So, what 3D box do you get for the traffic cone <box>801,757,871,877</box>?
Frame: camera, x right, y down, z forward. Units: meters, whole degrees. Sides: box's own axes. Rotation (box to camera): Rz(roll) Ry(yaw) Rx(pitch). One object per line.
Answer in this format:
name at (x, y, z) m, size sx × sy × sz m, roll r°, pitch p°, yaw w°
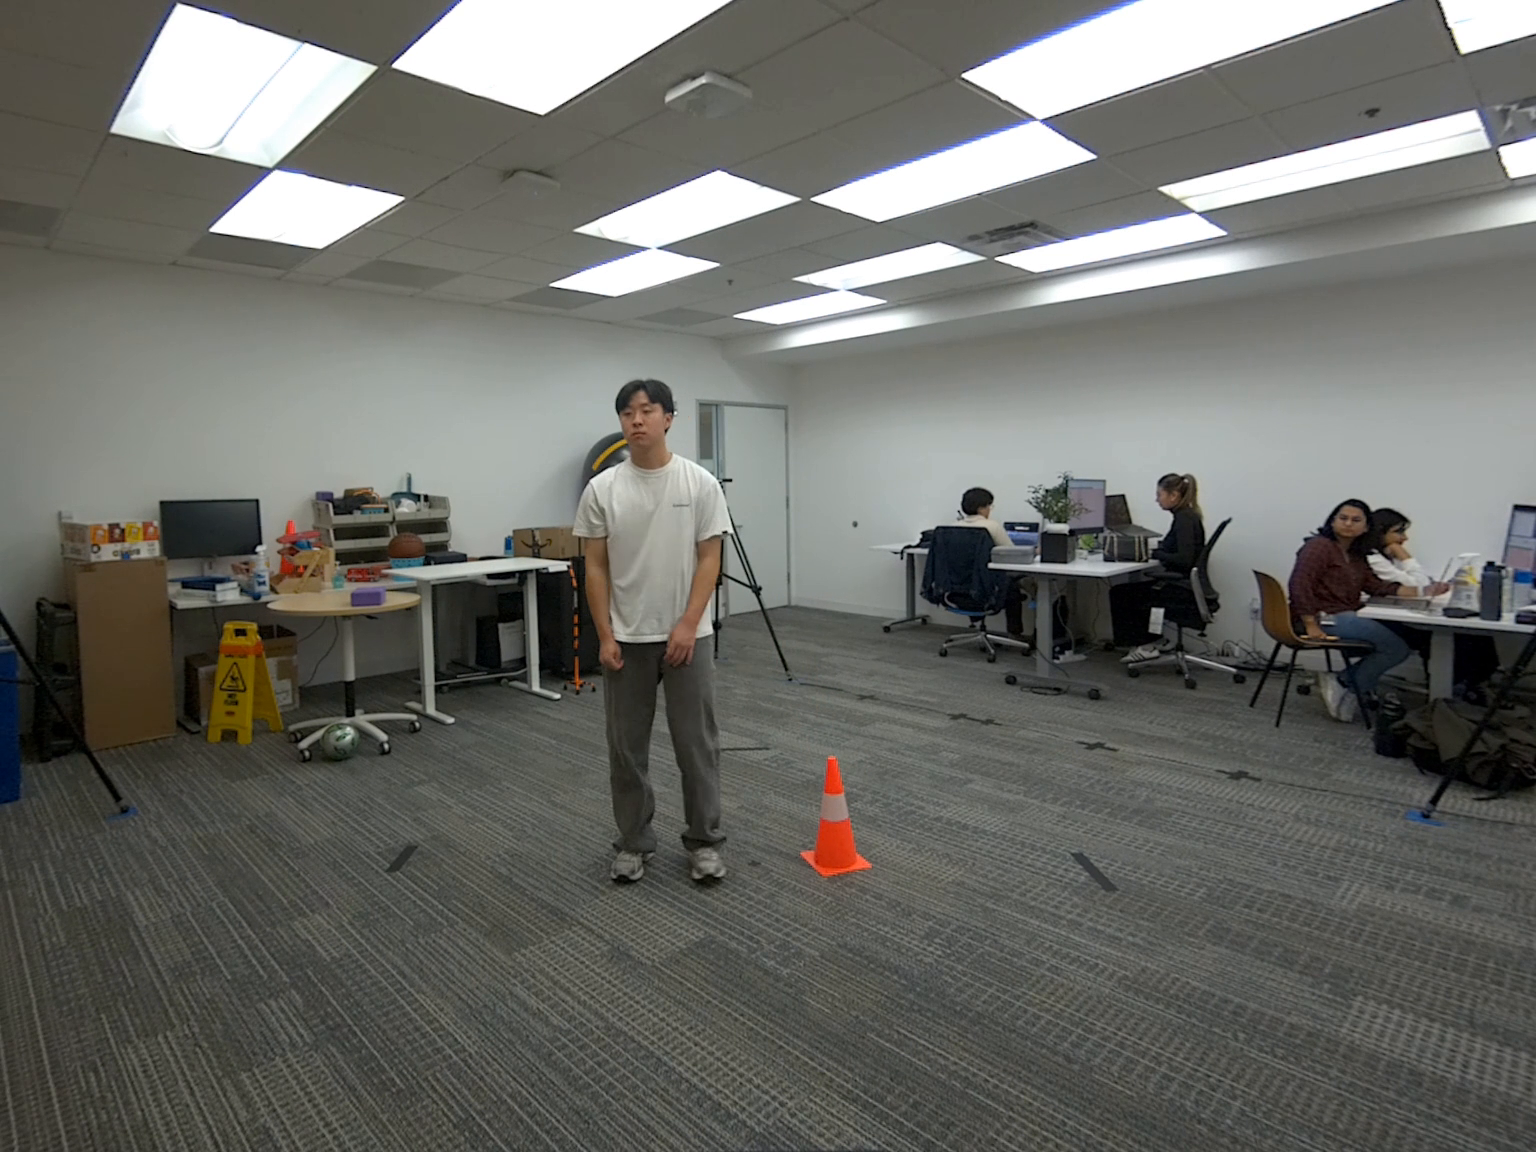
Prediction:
traffic cone at (0.234, 0.854, 3.108) m, size 0.201 × 0.382 × 0.208 m, roll -5°, pitch 6°, yaw -21°
